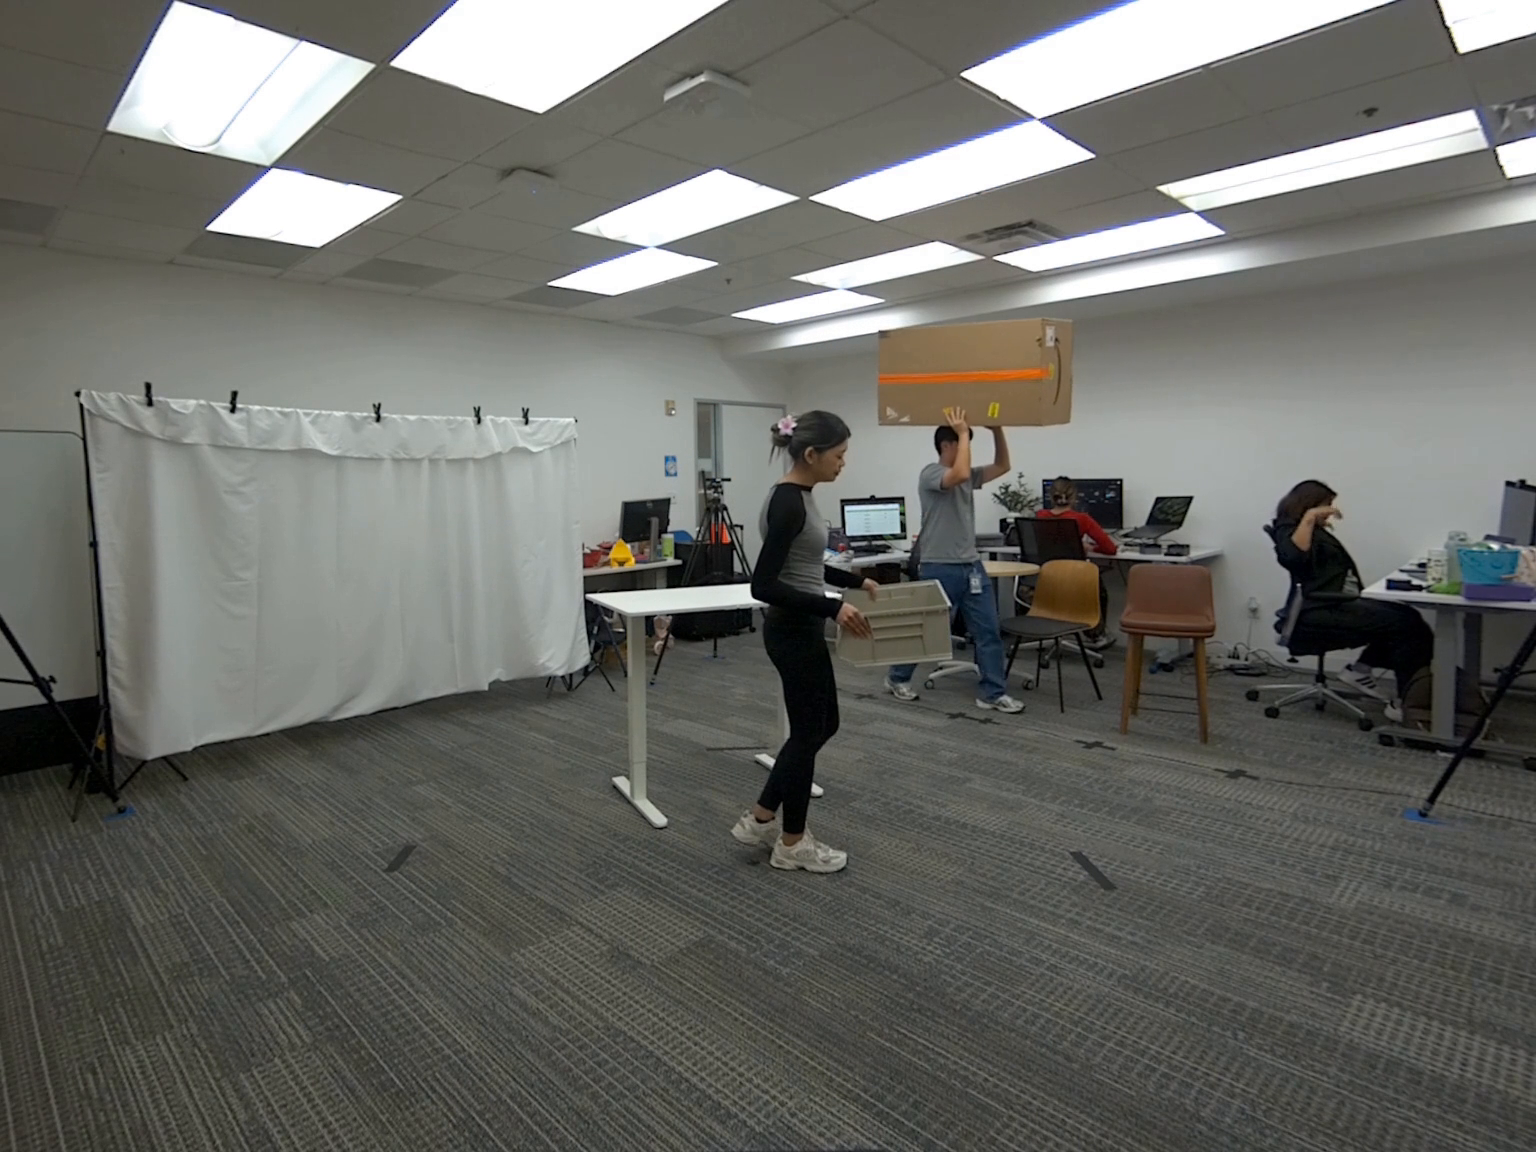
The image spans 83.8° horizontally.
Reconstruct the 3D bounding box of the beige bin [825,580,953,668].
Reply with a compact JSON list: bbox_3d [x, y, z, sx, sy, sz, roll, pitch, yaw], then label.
[{"bbox_3d":[0.416,0.156,2.941,0.381,0.187,0.422,-3,9,9],"label":"beige bin"}]
